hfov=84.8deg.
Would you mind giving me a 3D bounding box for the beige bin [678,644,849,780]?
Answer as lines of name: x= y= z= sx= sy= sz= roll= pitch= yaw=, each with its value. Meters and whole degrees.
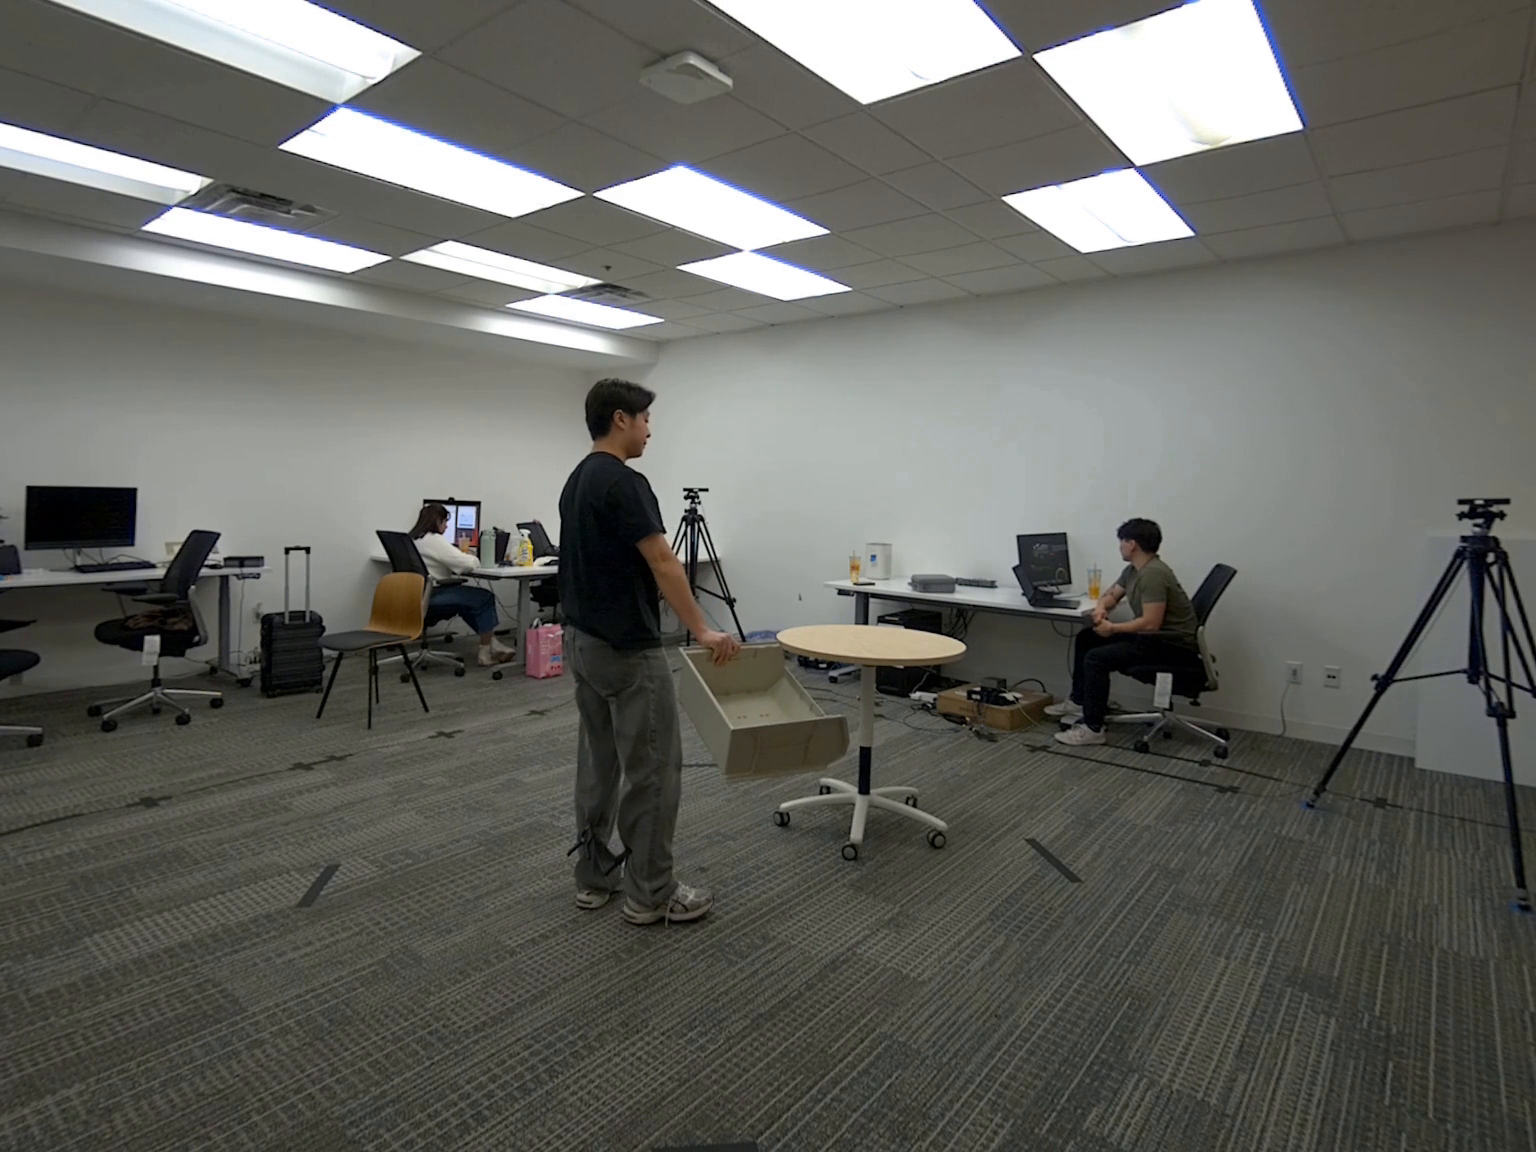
beige bin: x=-0.022 y=0.375 z=2.474 sx=0.369 sy=0.185 sz=0.439 roll=-5 pitch=26 yaw=-24
